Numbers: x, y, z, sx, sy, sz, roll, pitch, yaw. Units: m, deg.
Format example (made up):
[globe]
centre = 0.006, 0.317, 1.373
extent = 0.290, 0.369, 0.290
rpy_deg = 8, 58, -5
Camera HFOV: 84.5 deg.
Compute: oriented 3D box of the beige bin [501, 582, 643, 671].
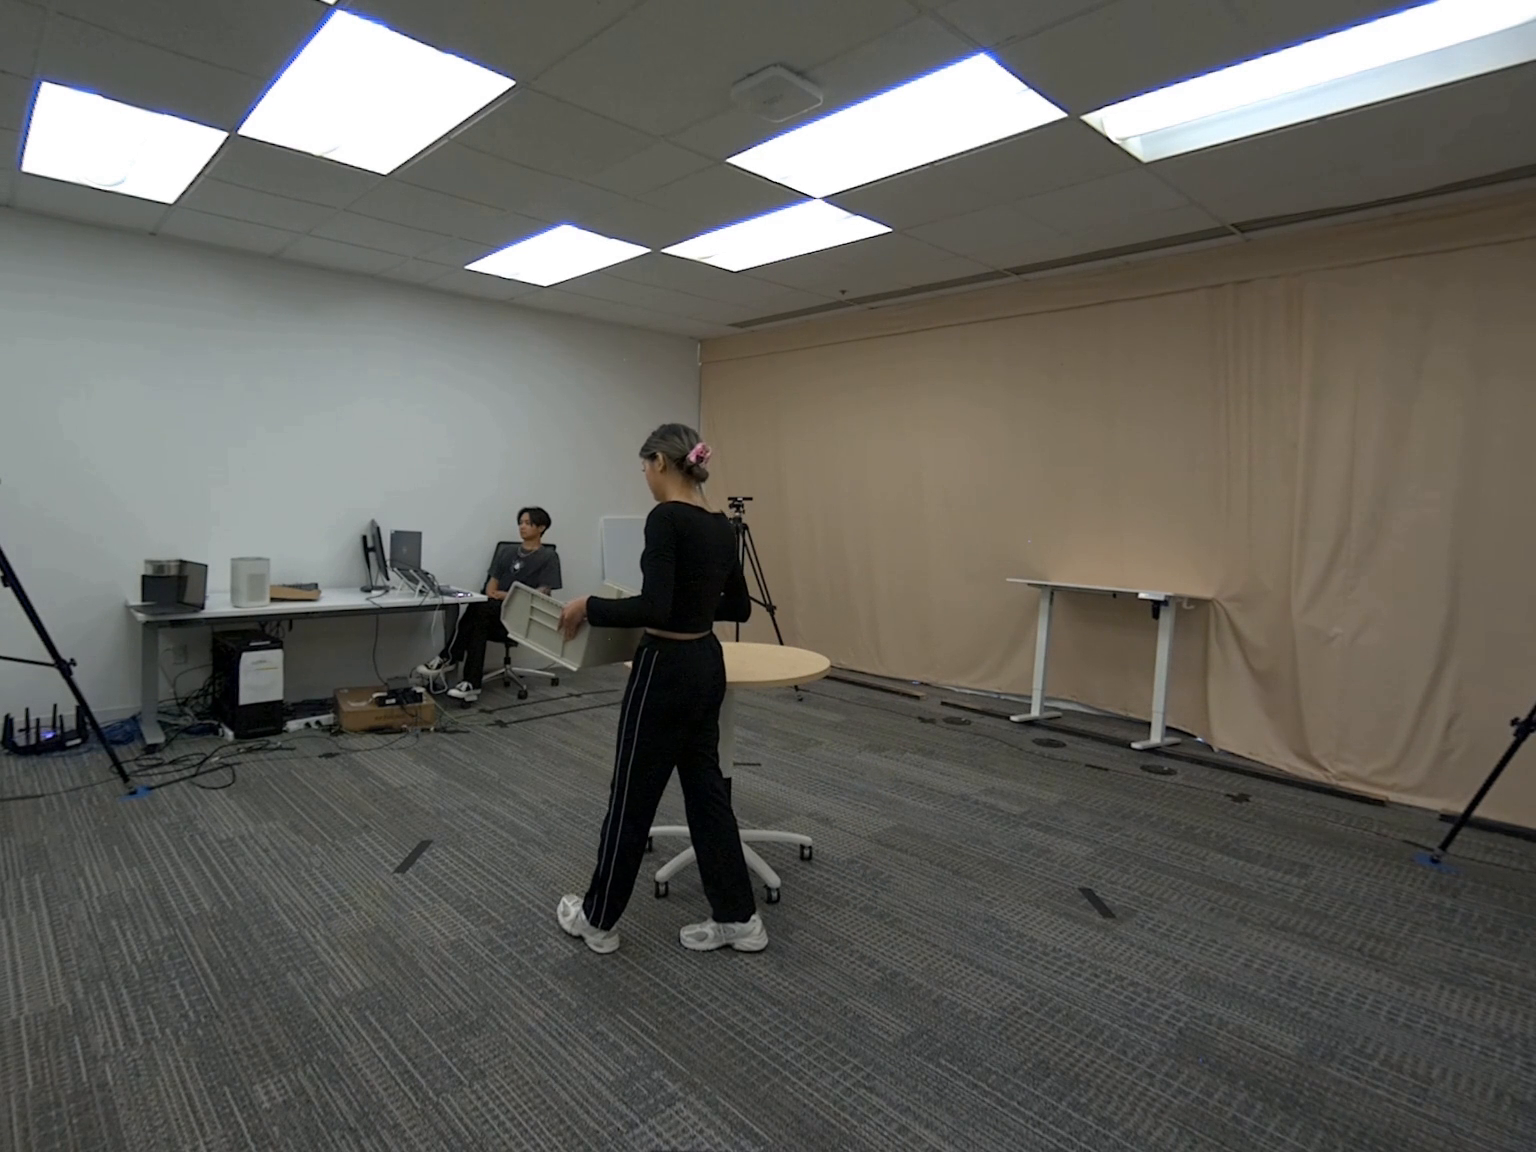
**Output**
[beige bin]
centre = -0.588, 0.145, 2.746
extent = 0.387, 0.188, 0.413
rpy_deg = 21, 10, 30
